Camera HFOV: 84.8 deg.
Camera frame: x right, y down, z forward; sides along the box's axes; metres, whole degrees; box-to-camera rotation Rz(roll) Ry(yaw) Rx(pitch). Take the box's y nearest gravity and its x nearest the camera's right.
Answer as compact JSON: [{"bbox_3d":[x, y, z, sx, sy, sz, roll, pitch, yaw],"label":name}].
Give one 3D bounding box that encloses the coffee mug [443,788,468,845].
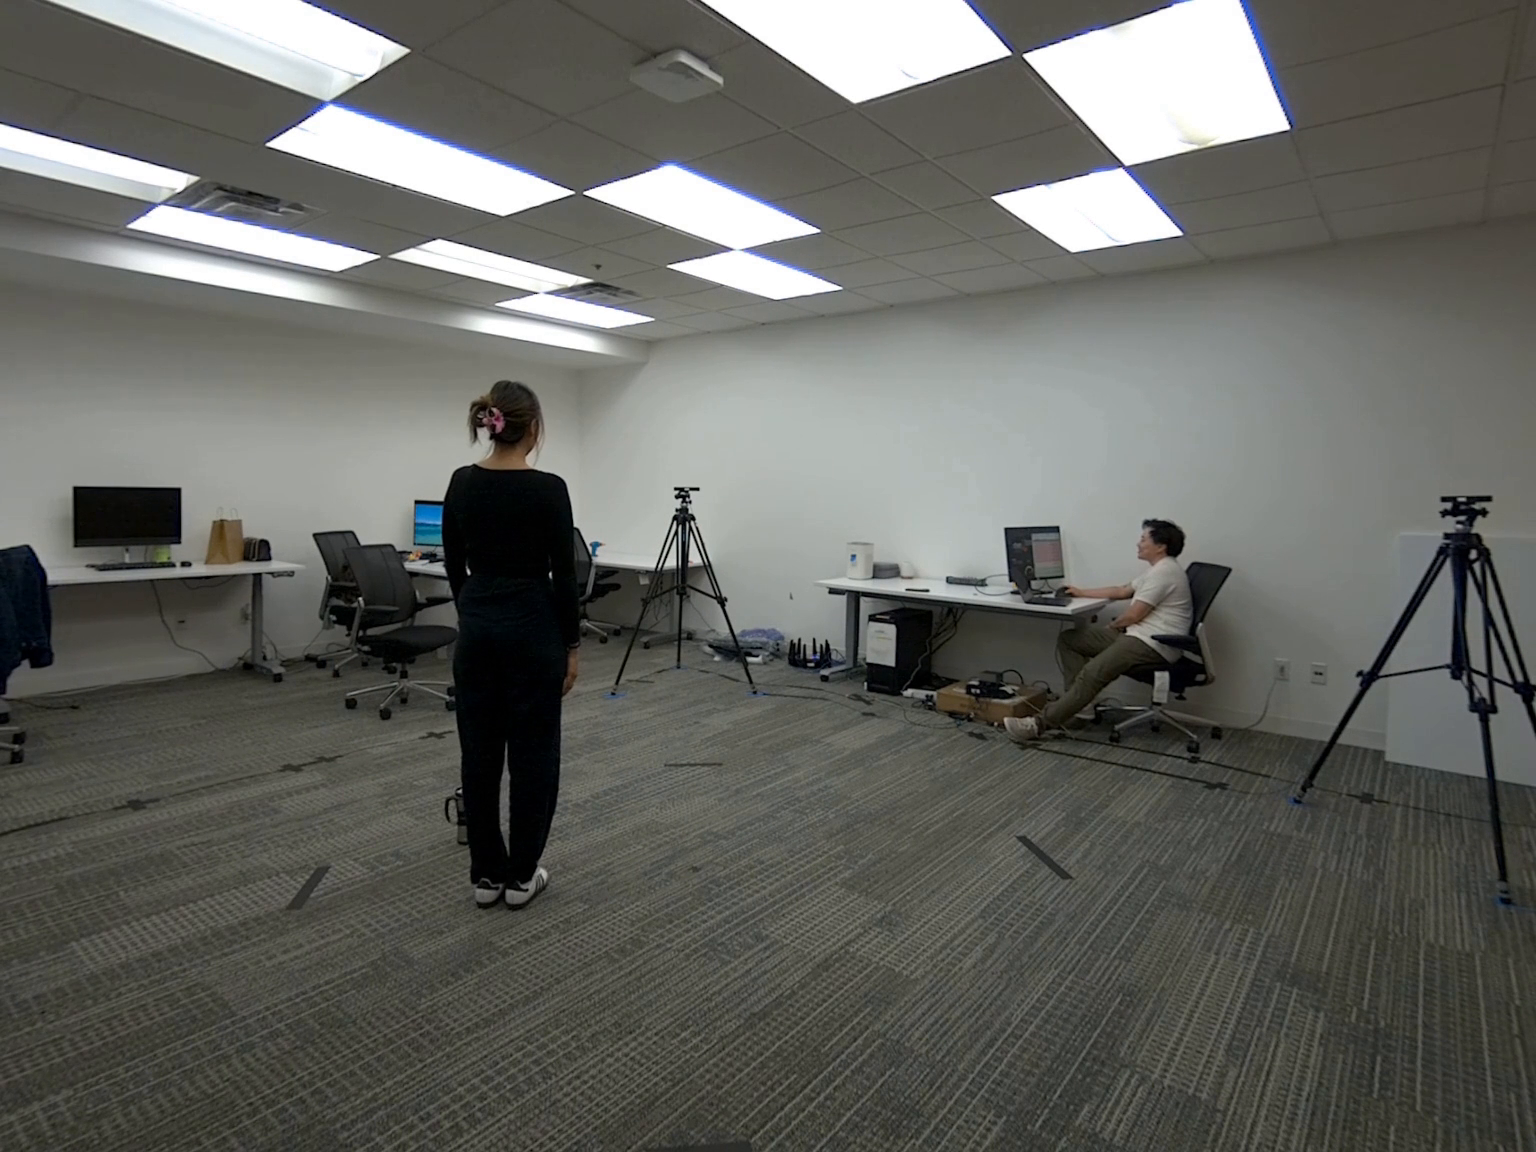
[{"bbox_3d":[-1.211,0.937,3.320,0.122,0.202,0.088,2,4,-3],"label":"coffee mug"}]
